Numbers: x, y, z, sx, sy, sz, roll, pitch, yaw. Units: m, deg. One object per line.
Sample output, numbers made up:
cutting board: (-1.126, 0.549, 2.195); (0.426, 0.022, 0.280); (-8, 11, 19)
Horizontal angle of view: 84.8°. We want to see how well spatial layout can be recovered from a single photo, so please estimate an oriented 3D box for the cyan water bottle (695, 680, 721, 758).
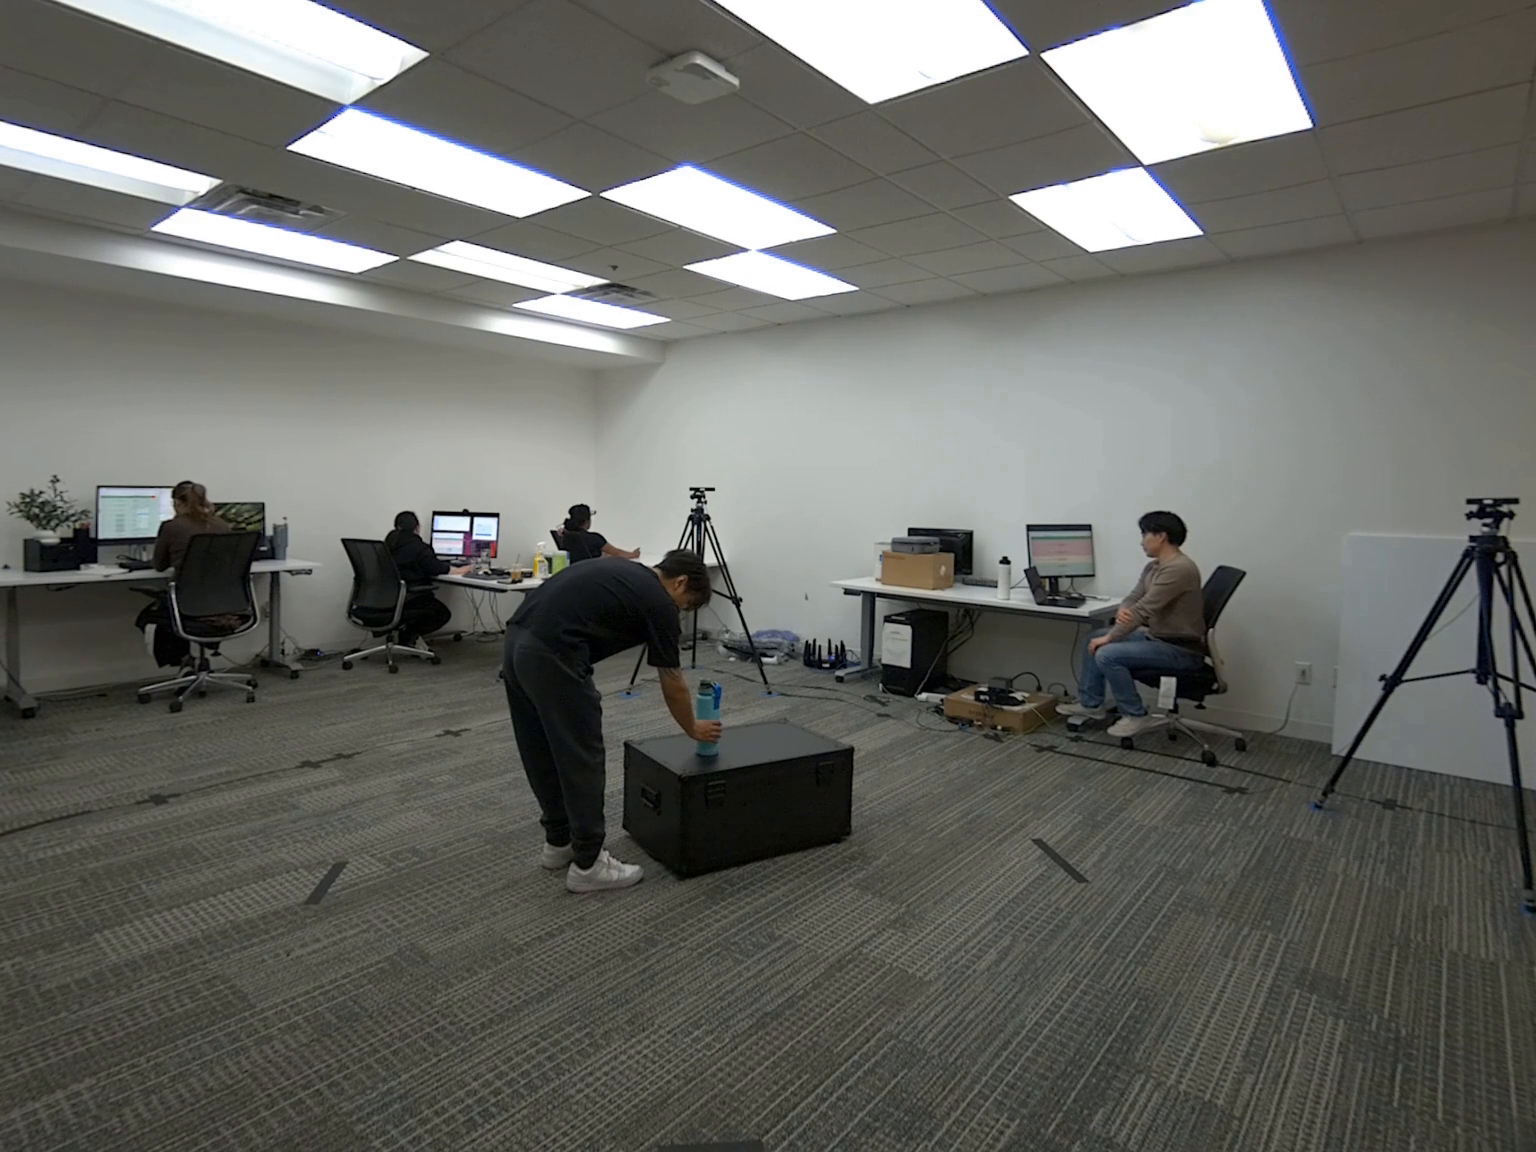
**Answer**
cyan water bottle: (-0.241, 0.533, 3.268); (0.092, 0.283, 0.092); (3, 2, -2)
